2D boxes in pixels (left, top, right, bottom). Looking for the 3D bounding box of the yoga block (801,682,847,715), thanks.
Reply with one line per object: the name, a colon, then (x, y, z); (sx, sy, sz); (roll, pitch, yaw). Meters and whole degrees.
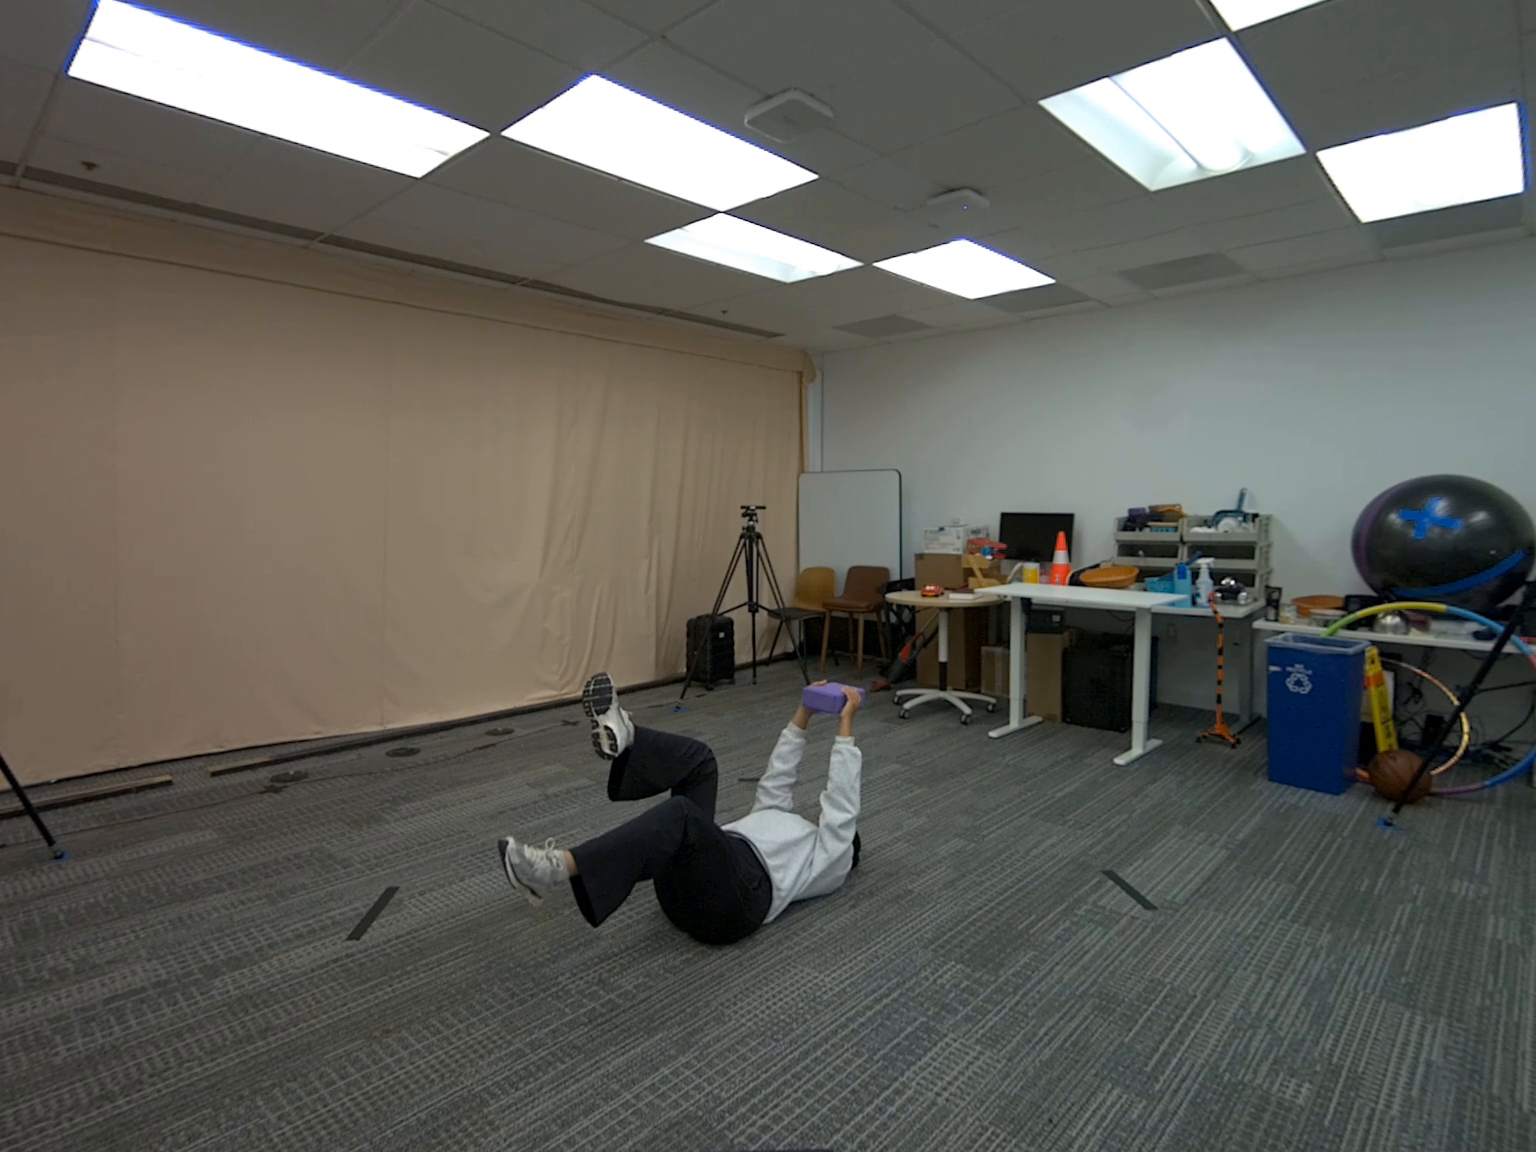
yoga block: (0.258, 0.467, 3.238); (0.154, 0.076, 0.222); (8, 5, 37)
